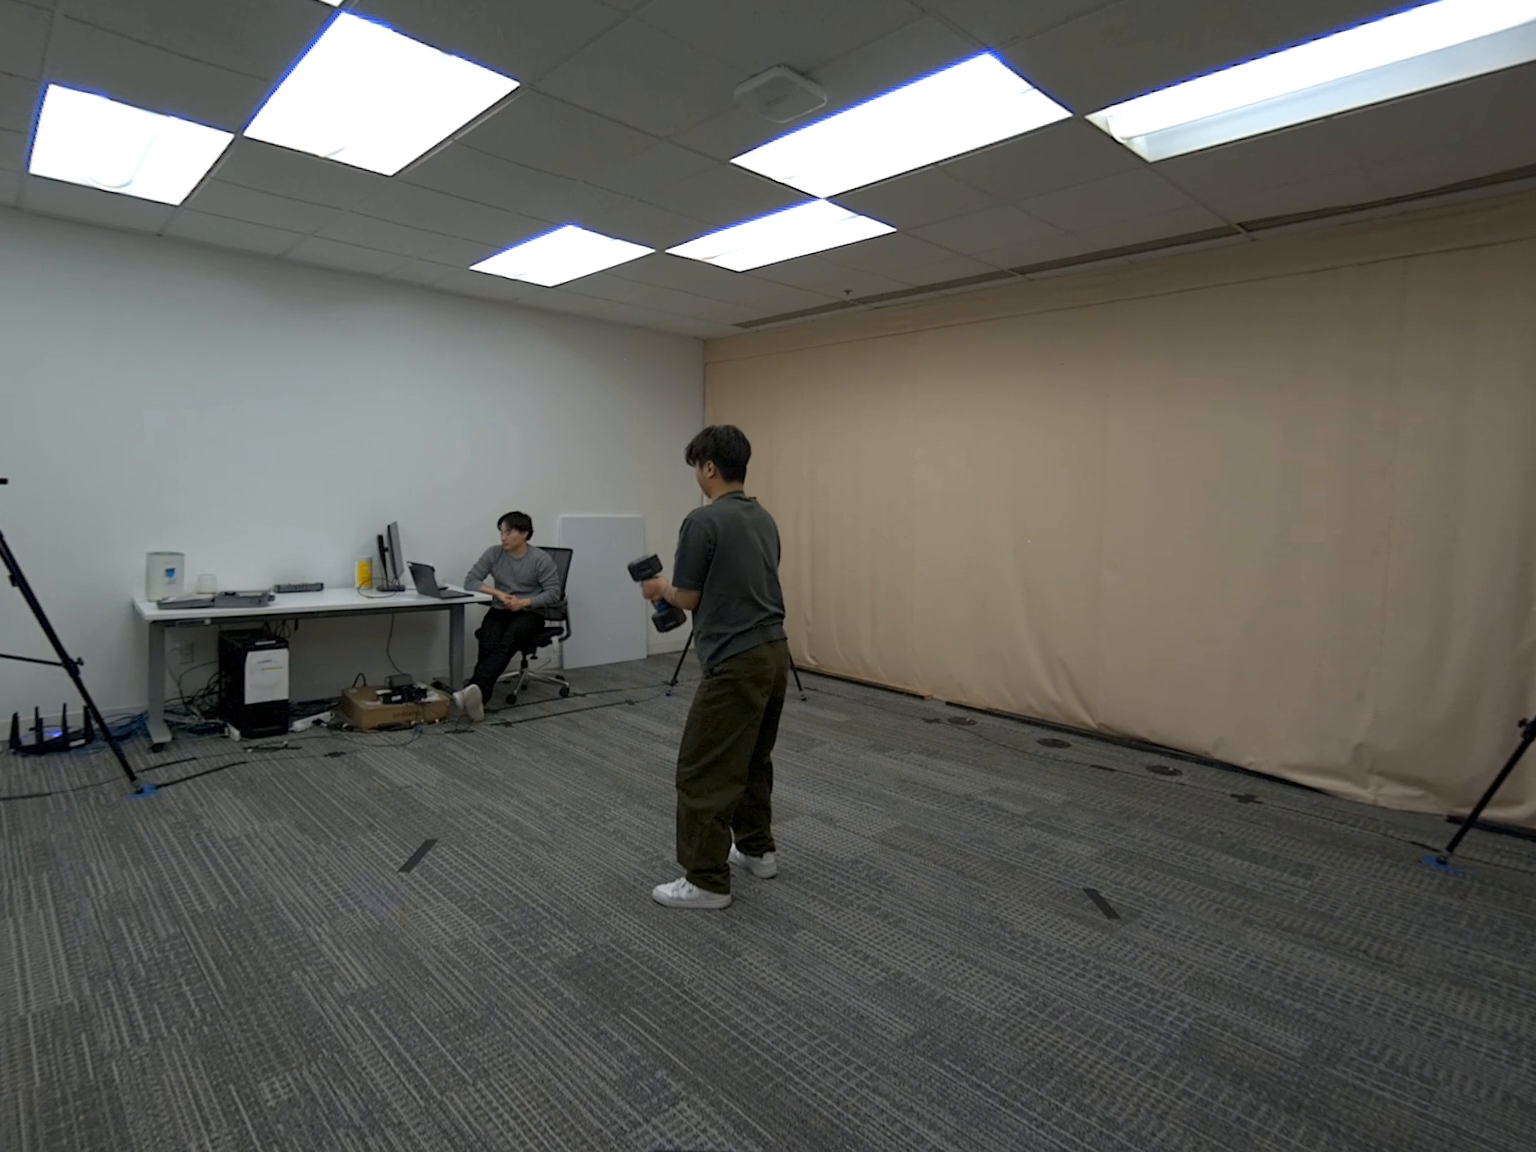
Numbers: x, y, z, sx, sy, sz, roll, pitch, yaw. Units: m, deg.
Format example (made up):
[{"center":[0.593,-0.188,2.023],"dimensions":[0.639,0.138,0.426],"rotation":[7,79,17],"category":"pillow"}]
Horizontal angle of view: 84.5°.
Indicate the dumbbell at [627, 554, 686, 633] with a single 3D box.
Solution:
[{"center":[-0.415,0.055,3.150],"dimensions":[0.123,0.294,0.109],"rotation":[-25,-1,-3],"category":"dumbbell"}]
